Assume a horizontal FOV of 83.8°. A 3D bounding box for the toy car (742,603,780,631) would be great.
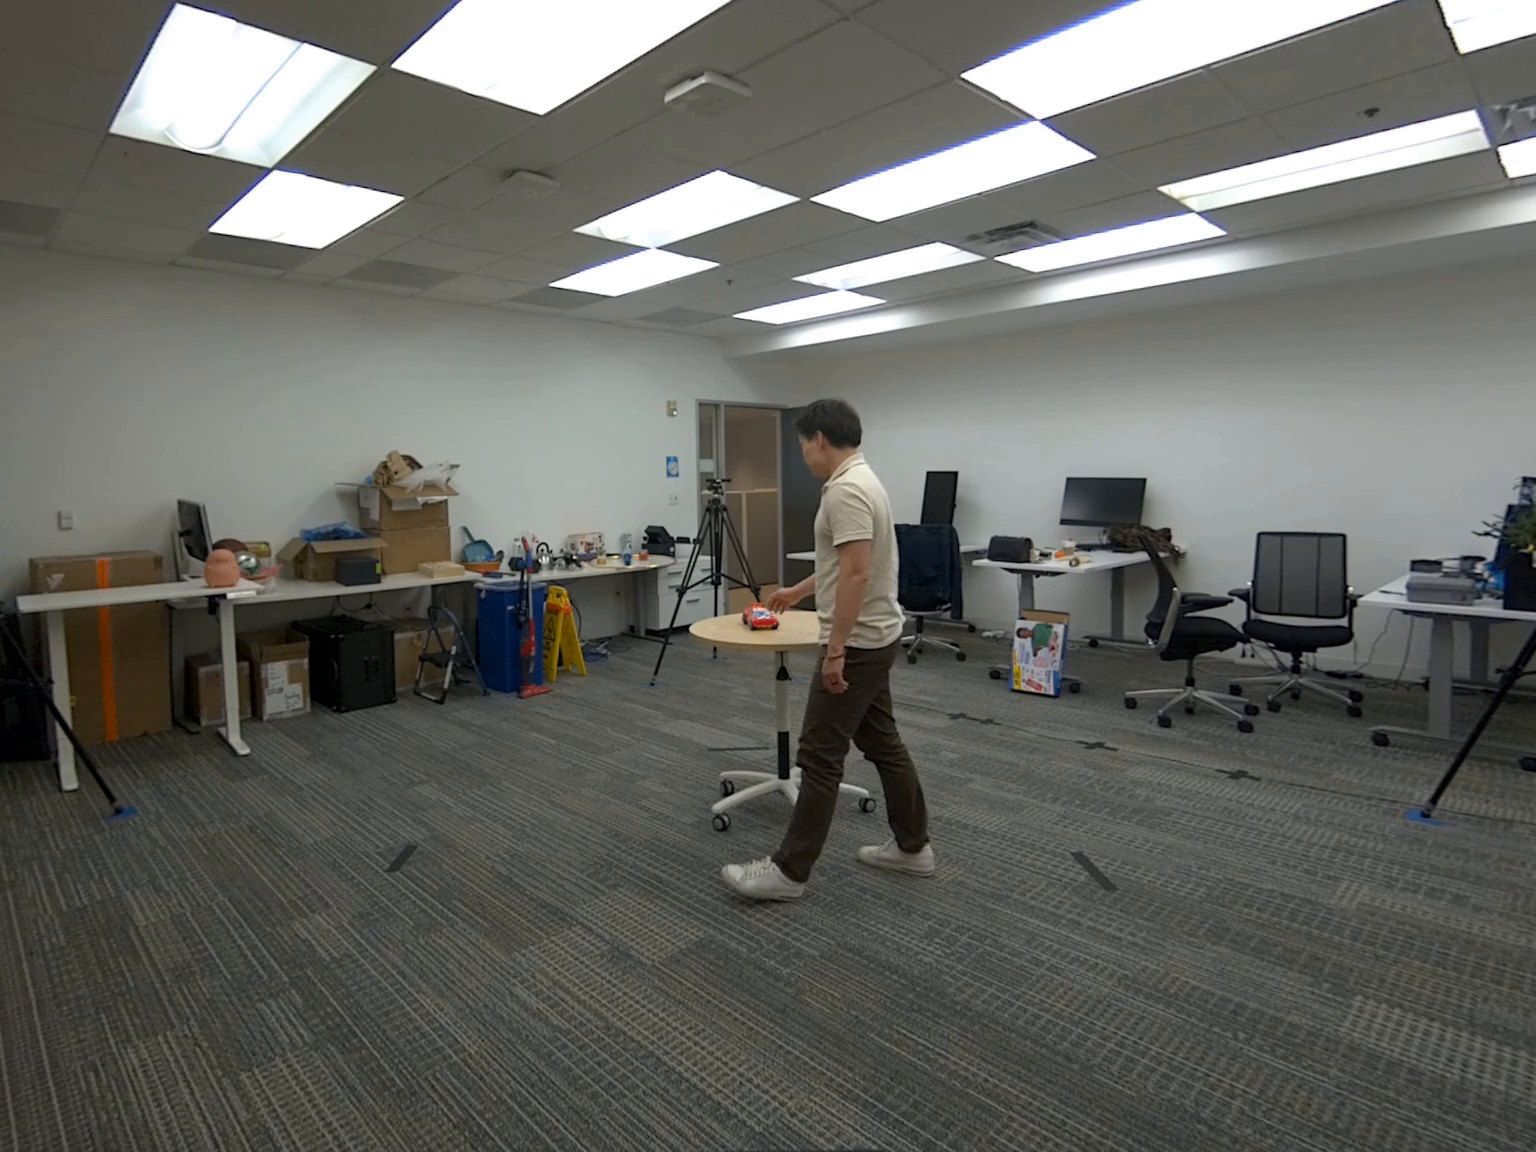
[{"bbox_3d":[-0.037,0.173,3.569,0.129,0.082,0.261,-3,18,-11],"label":"toy car"}]
